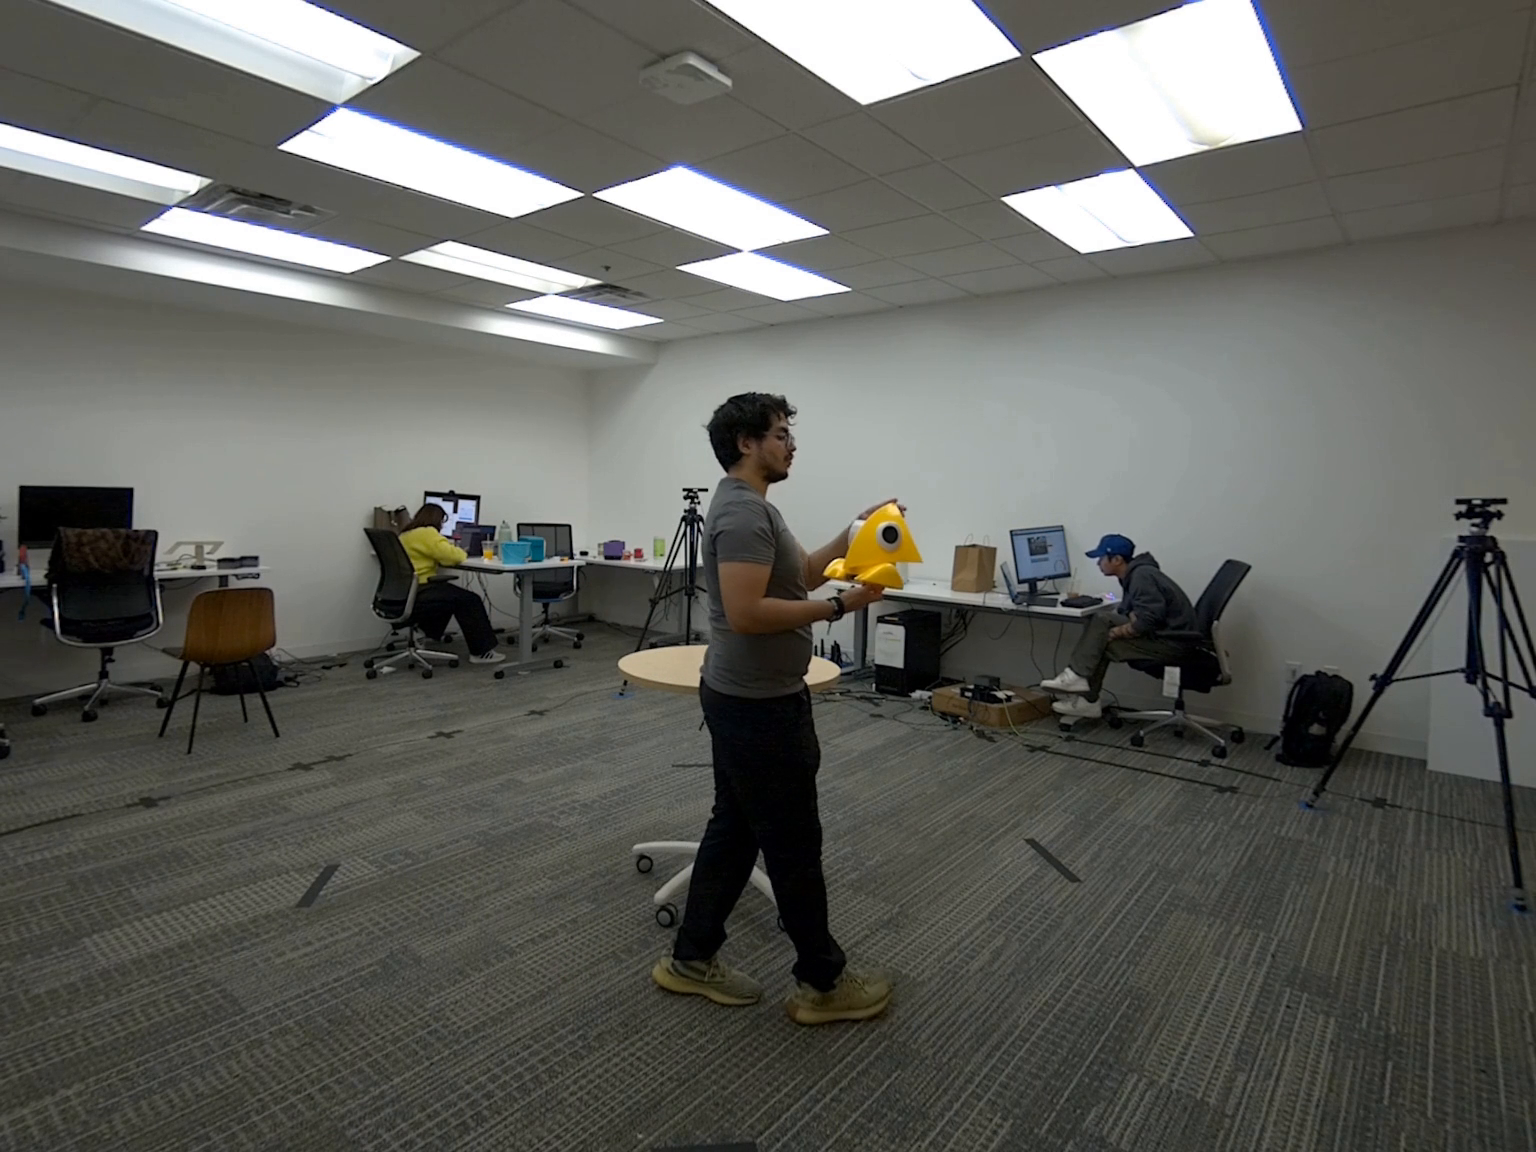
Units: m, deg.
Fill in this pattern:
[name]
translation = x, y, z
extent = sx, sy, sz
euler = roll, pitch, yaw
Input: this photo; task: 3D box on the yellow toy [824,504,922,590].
[yellow toy]
translation = 0.269, -0.093, 2.208
extent = 0.186, 0.231, 0.212
euler = 13, -5, -43
